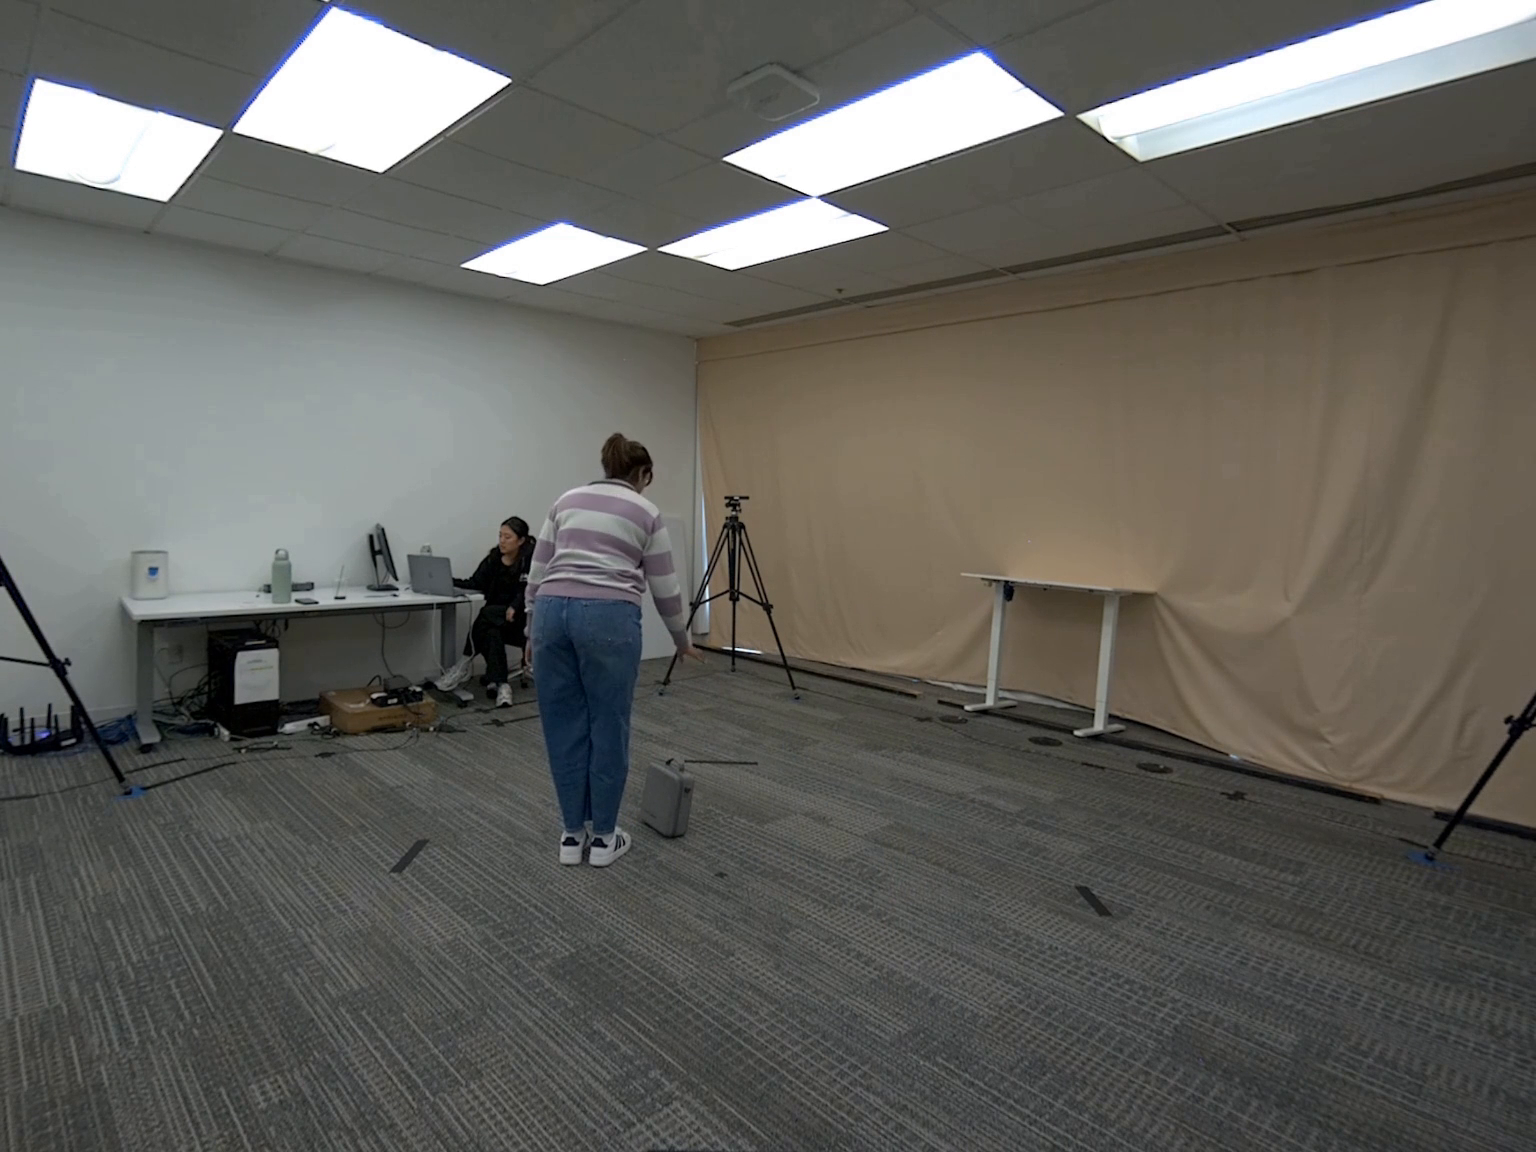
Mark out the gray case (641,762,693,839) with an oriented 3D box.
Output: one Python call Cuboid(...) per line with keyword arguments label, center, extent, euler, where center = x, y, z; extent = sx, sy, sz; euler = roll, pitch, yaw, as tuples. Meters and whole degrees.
Cuboid(label="gray case", center=(-0.433, 0.926, 3.533), extent=(0.102, 0.261, 0.263), euler=(10, -1, -35))
